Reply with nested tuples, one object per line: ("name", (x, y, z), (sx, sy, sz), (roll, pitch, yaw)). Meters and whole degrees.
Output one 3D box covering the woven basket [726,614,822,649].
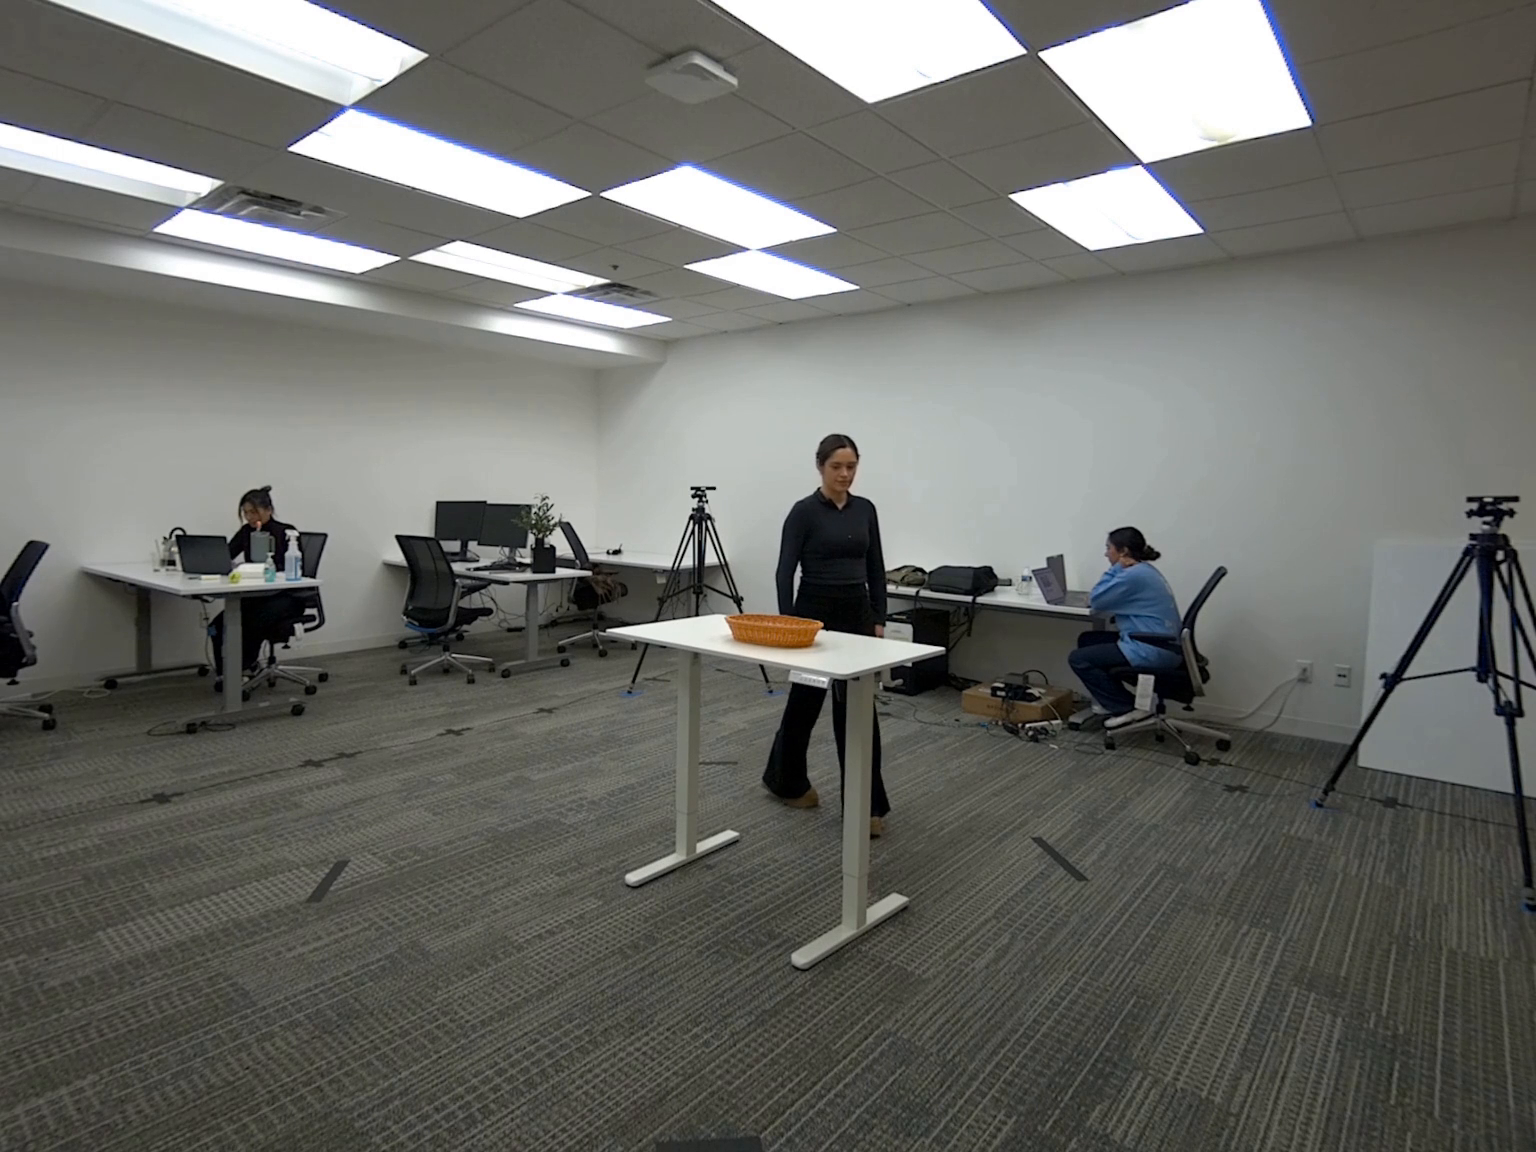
("woven basket", (0.015, 0.187, 2.829), (0.362, 0.073, 0.245), (5, 6, 40))
